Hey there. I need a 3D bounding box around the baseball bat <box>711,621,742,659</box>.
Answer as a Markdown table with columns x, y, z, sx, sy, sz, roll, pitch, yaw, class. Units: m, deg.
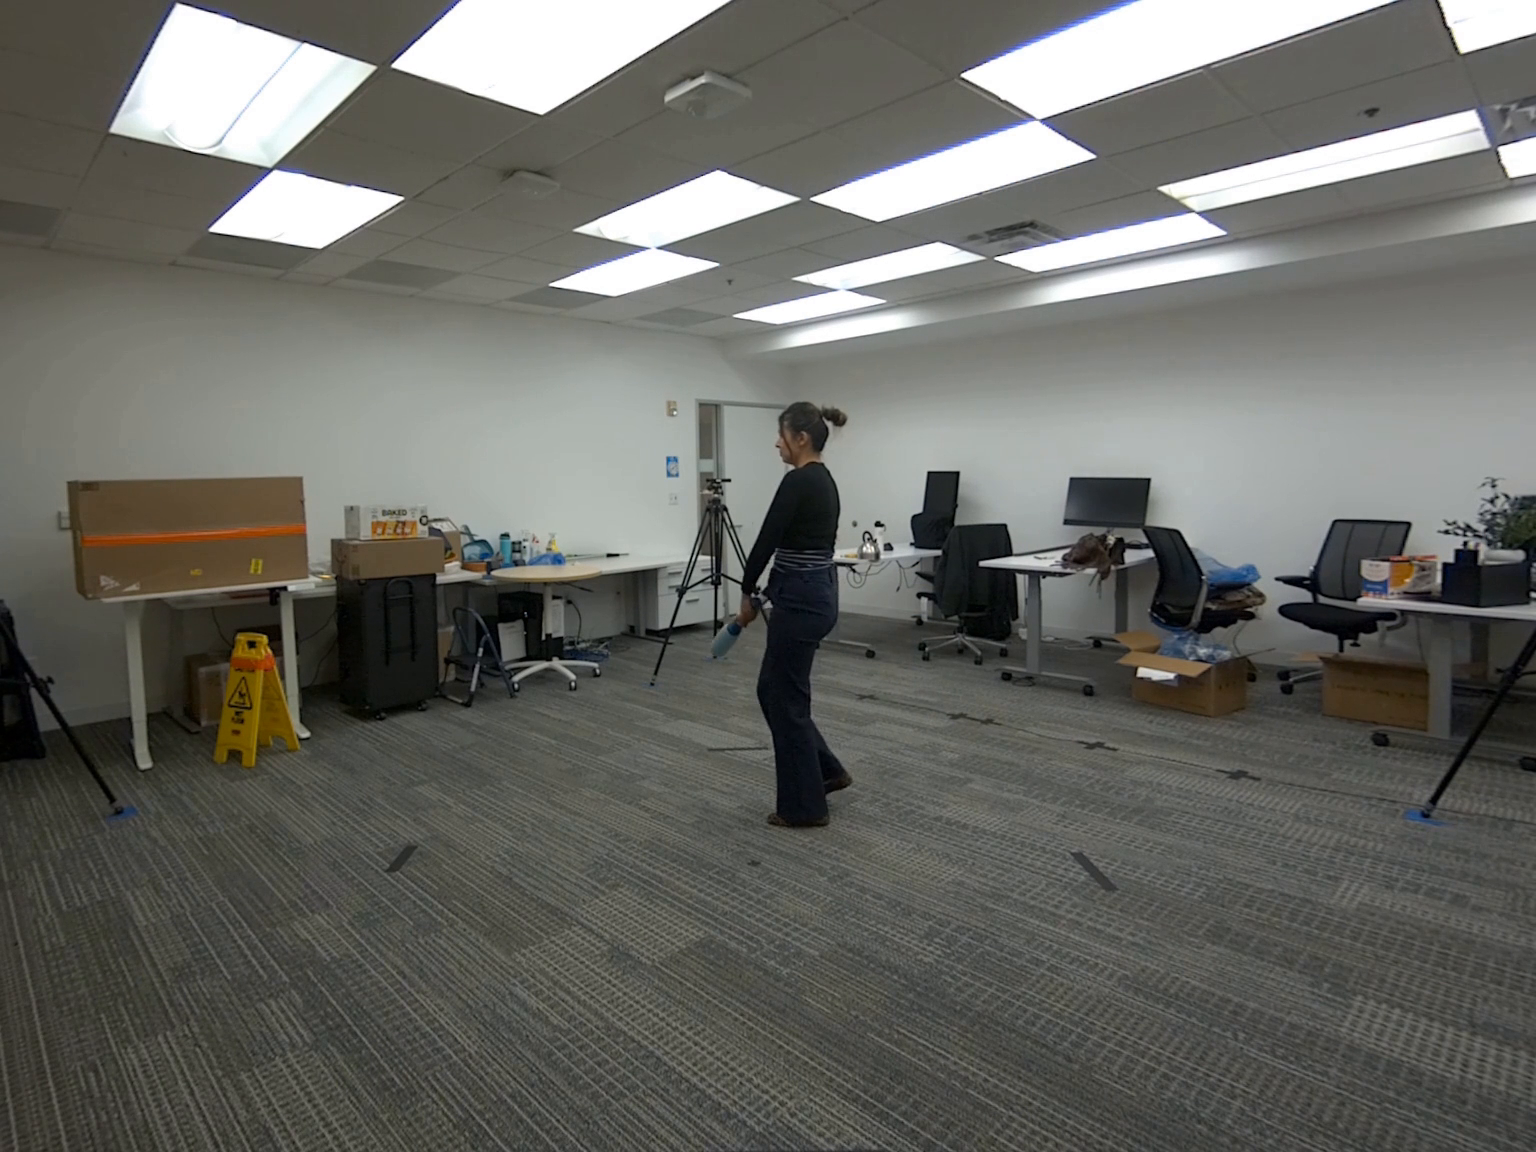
| x | y | z | sx | sy | sz | roll | pitch | yaw | class |
| --- | --- | --- | --- | --- | --- | --- | --- | --- | --- |
| -0.141 | 0.204 | 3.705 | 0.087 | 0.091 | 0.540 | -2 | -24 | -21 | baseball bat |
